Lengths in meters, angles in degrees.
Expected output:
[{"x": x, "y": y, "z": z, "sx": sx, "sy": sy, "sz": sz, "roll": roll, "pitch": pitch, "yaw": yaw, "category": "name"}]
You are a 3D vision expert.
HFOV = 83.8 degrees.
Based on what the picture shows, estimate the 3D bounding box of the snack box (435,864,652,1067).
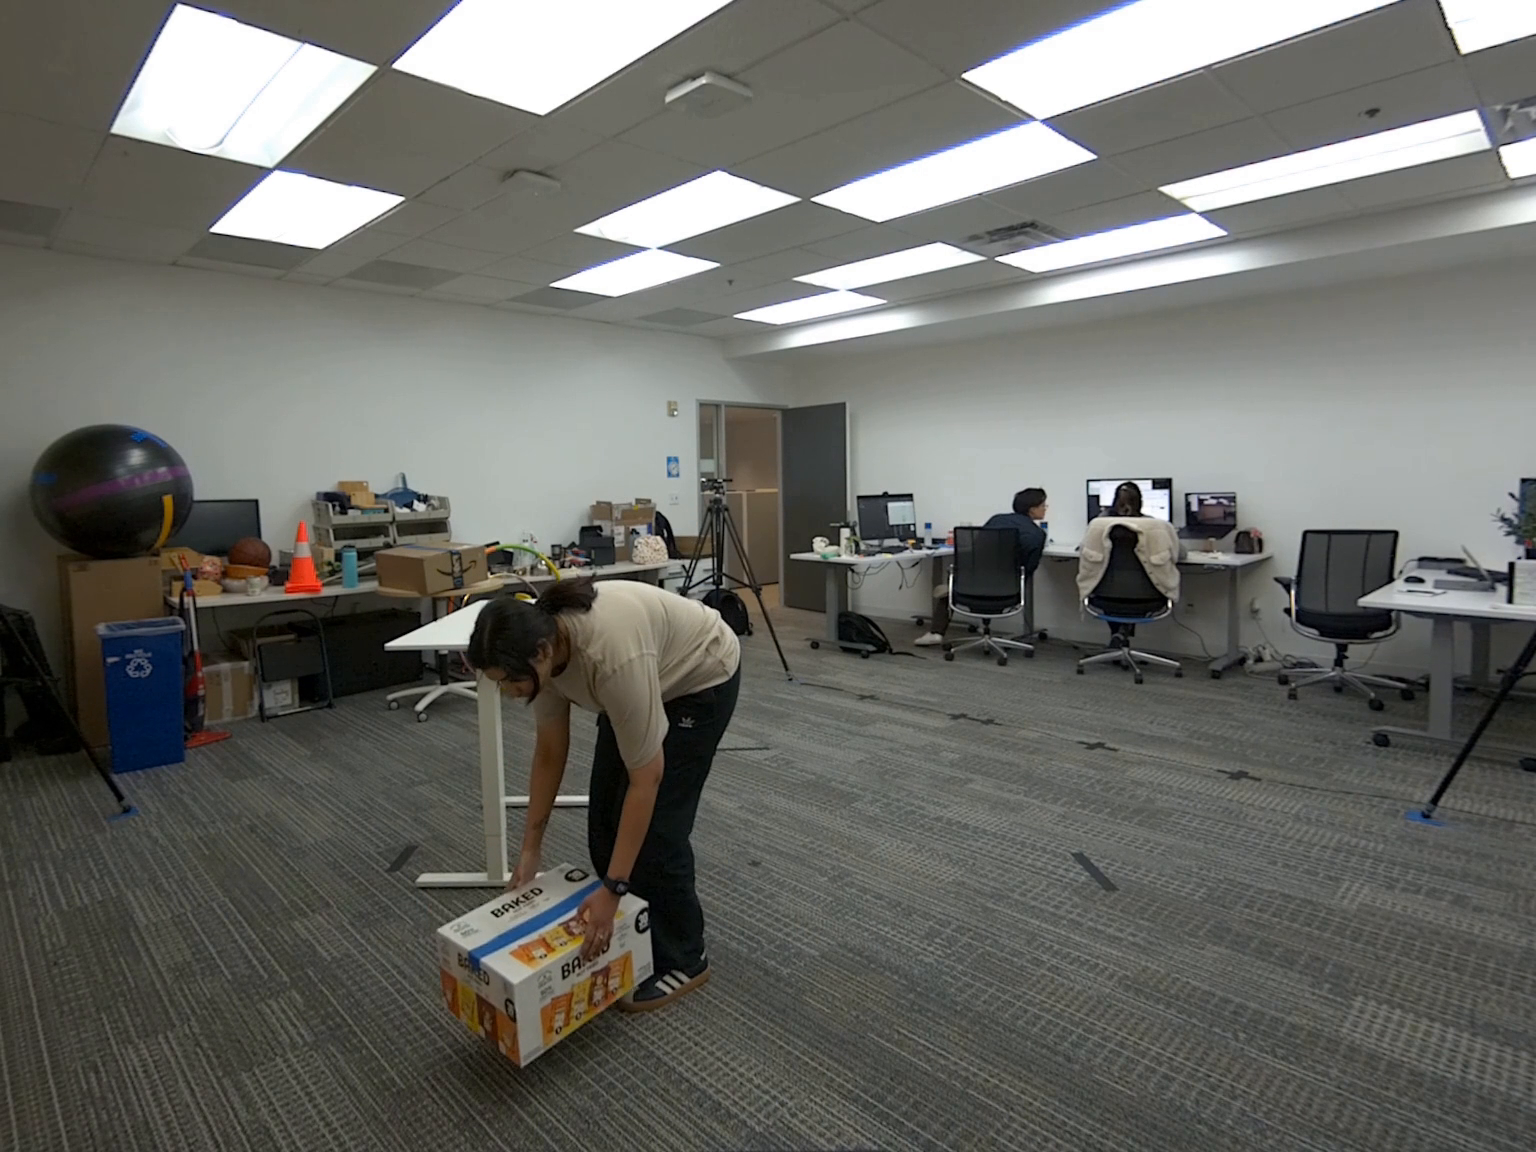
[{"x": -0.549, "y": 0.941, "z": 2.135, "sx": 0.351, "sy": 0.204, "sz": 0.396, "roll": 5, "pitch": 12, "yaw": 40, "category": "snack box"}]
